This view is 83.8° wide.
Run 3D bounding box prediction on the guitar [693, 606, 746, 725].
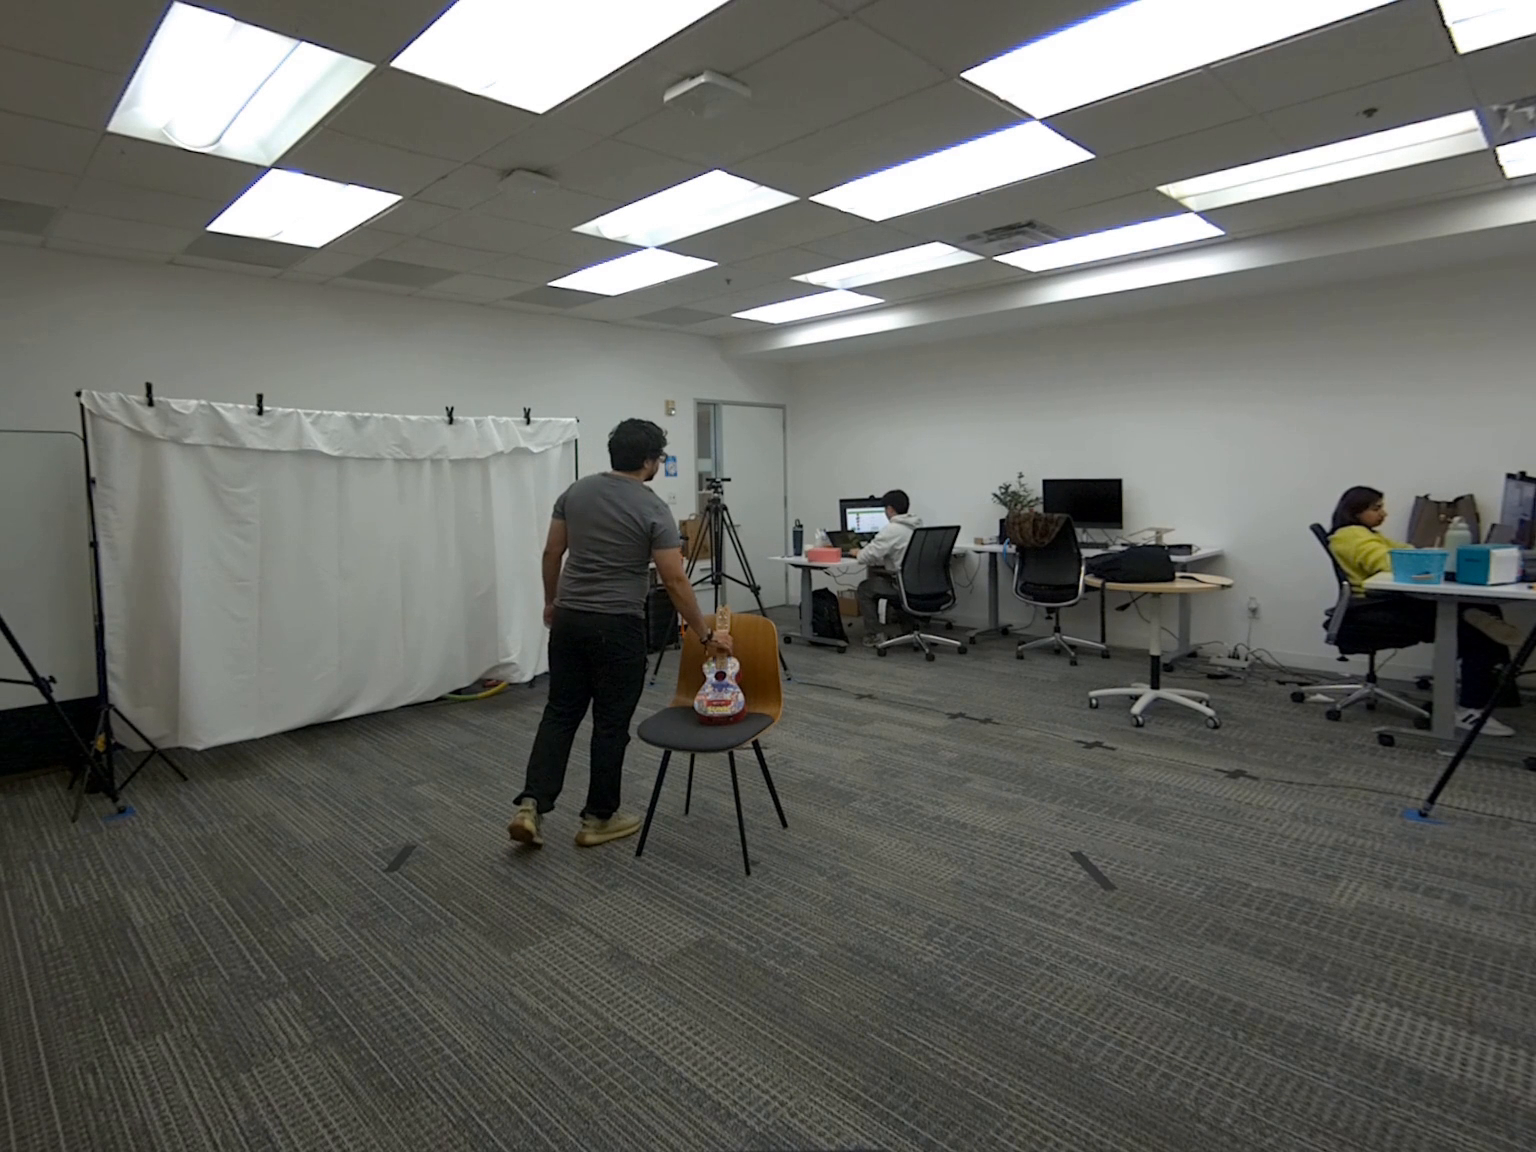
[{"bbox_3d":[-0.152,0.337,3.339,0.195,0.508,0.068,2,-38,11],"label":"guitar"}]
